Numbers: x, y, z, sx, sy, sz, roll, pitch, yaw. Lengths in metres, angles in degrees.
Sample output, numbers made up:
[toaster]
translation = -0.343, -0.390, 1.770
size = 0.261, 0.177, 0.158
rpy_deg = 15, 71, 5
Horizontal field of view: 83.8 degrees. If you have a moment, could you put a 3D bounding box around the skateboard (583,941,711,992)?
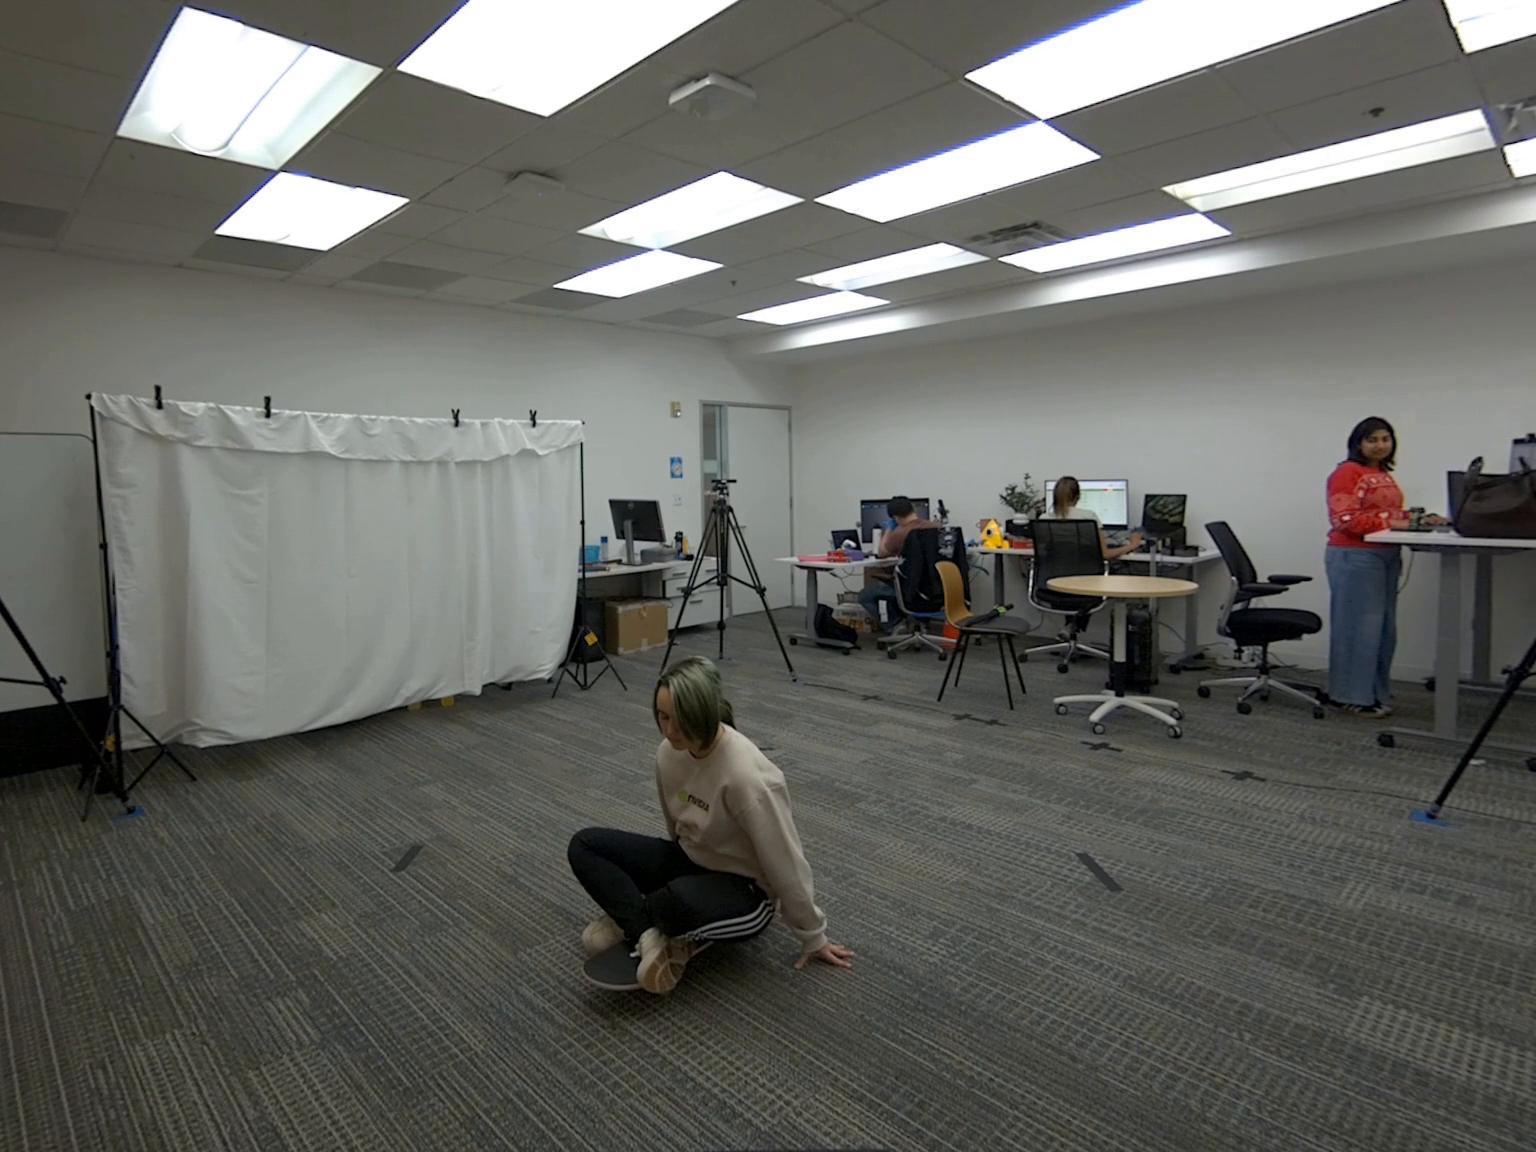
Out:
[skateboard]
translation = -0.227, 1.071, 2.518
size = 0.200, 0.110, 0.764
rpy_deg = 8, 10, 41
